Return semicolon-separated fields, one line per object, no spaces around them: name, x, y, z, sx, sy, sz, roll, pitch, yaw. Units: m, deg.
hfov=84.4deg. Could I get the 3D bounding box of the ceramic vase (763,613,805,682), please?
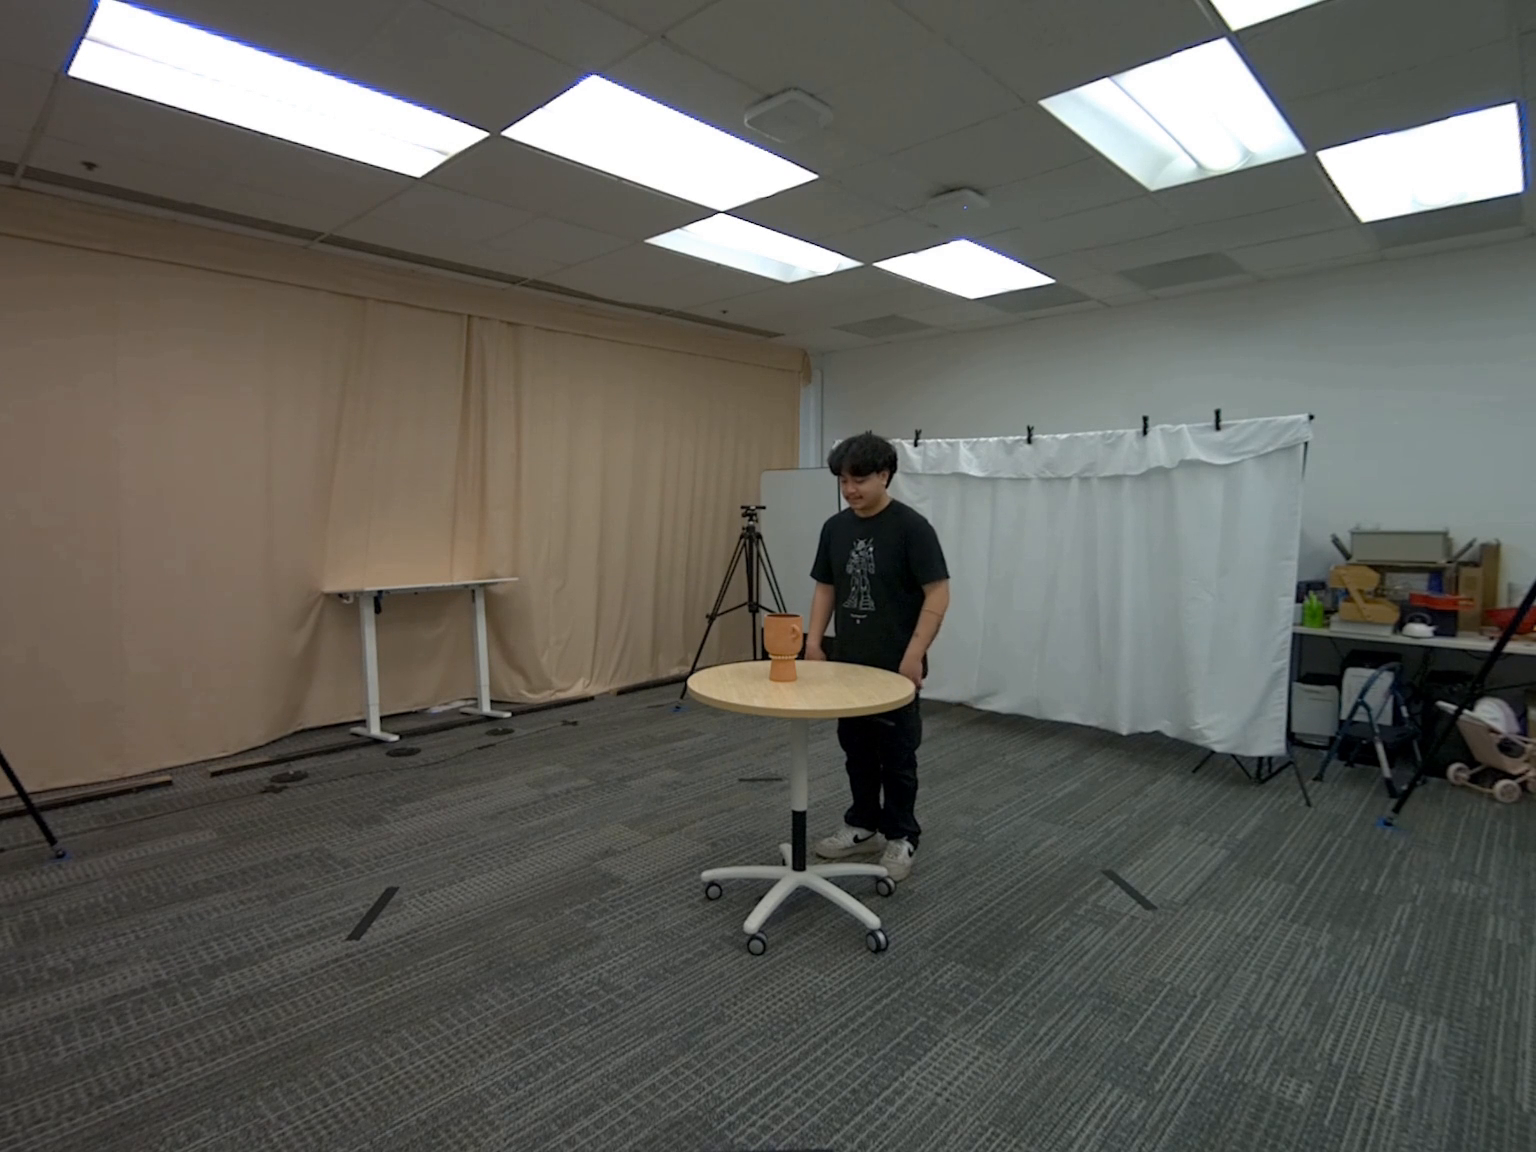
ceramic vase;0.058;0.248;2.898;0.155;0.219;0.138;-1;4;-26
